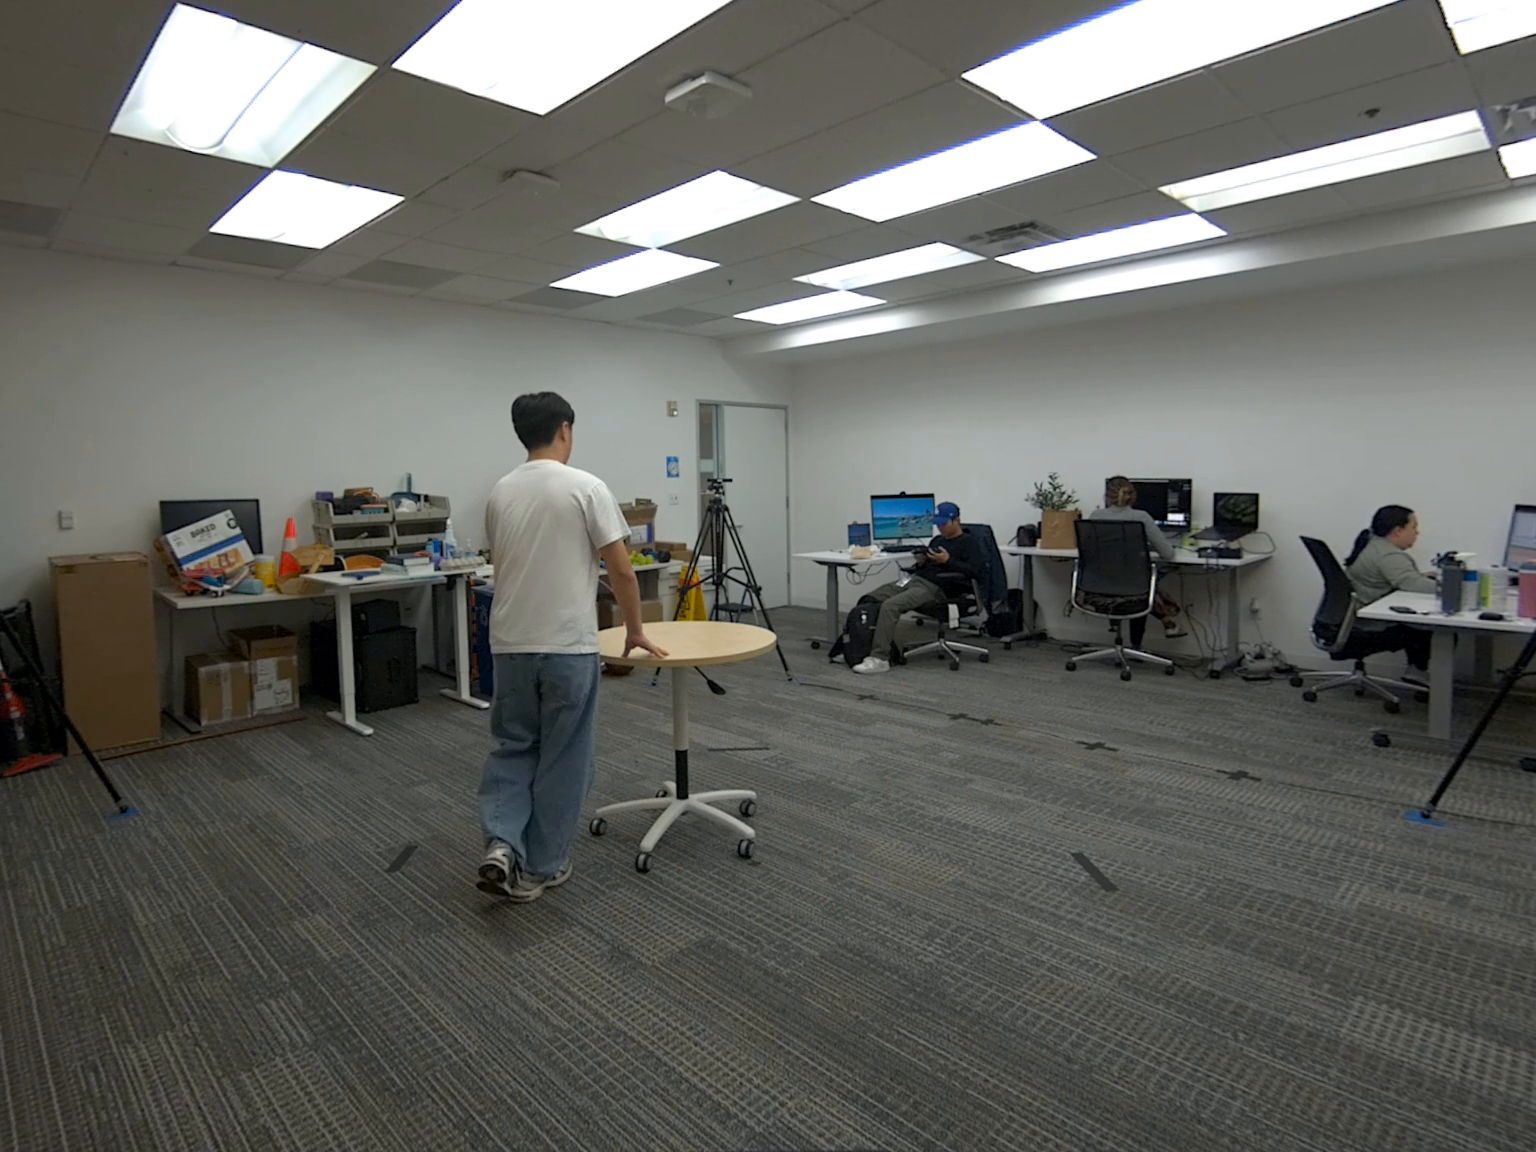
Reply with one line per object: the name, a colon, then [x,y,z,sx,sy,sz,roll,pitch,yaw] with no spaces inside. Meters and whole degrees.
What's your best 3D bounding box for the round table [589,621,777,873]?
round table: [-0.342,0.633,3.361,0.763,0.791,0.768,-1,5,-2]
